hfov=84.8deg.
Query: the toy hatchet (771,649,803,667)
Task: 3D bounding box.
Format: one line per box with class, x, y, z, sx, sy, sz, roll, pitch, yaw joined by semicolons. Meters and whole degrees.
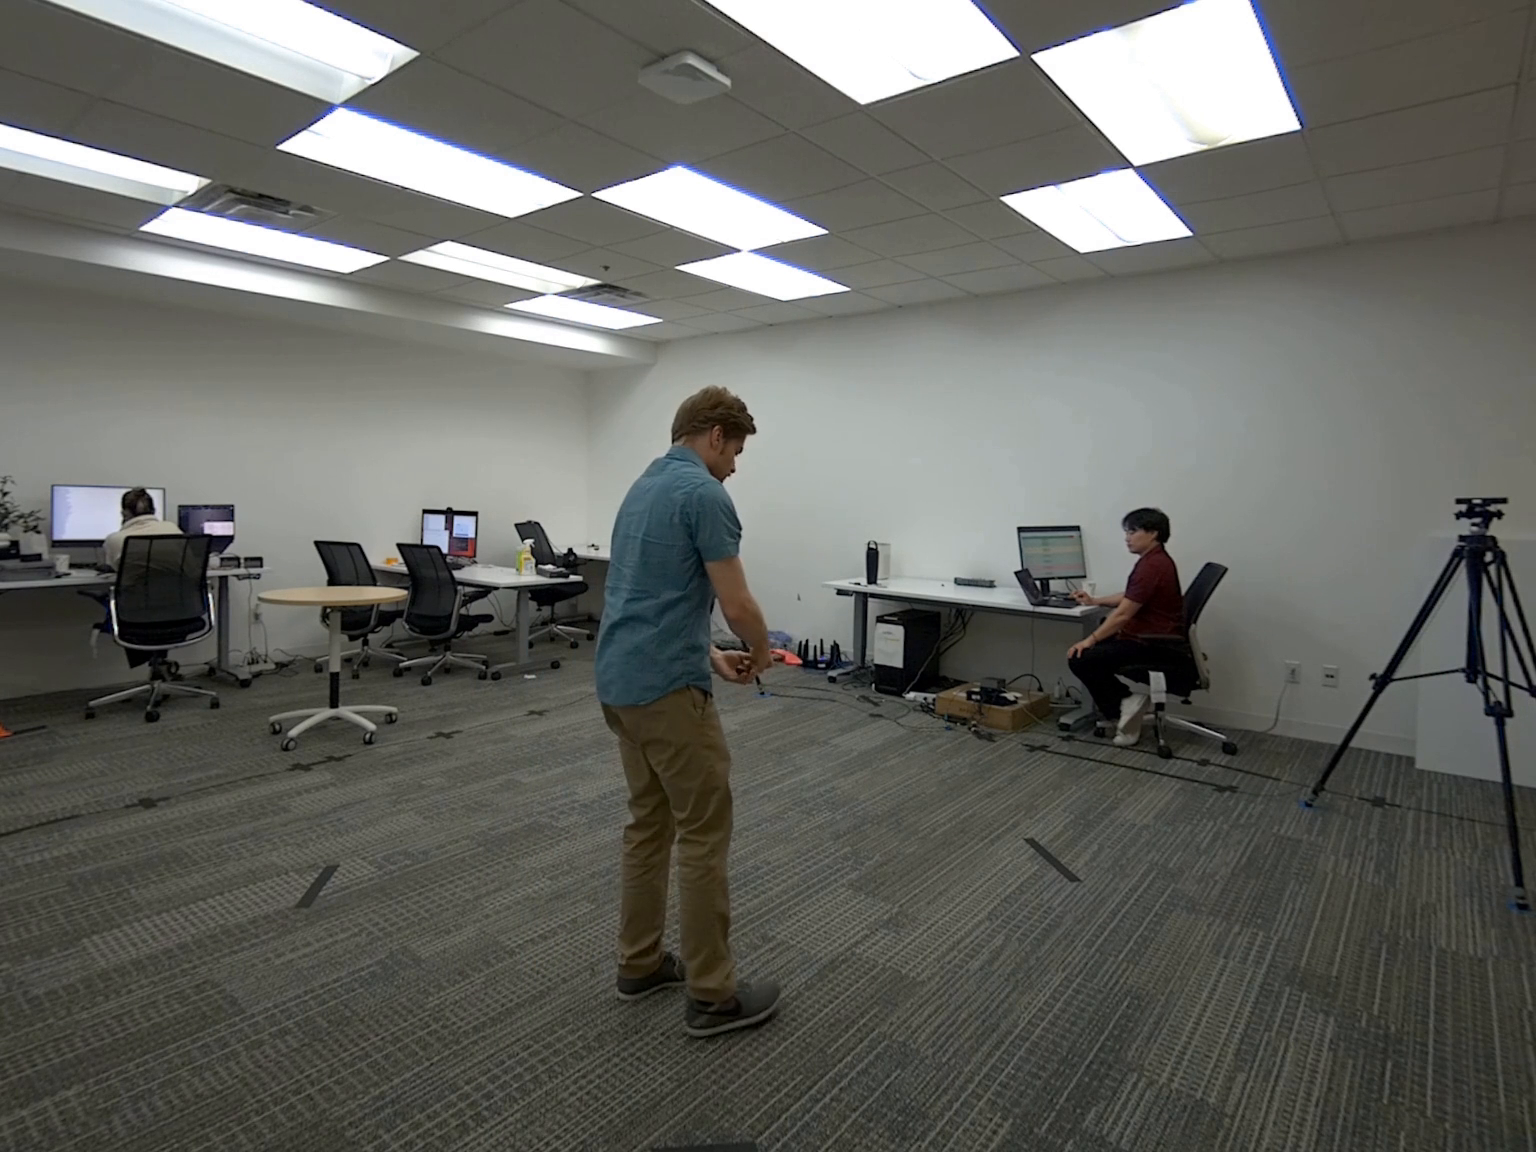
toy hatchet;-0.011;0.266;2.452;0.135;0.029;0.264;12;12;24
